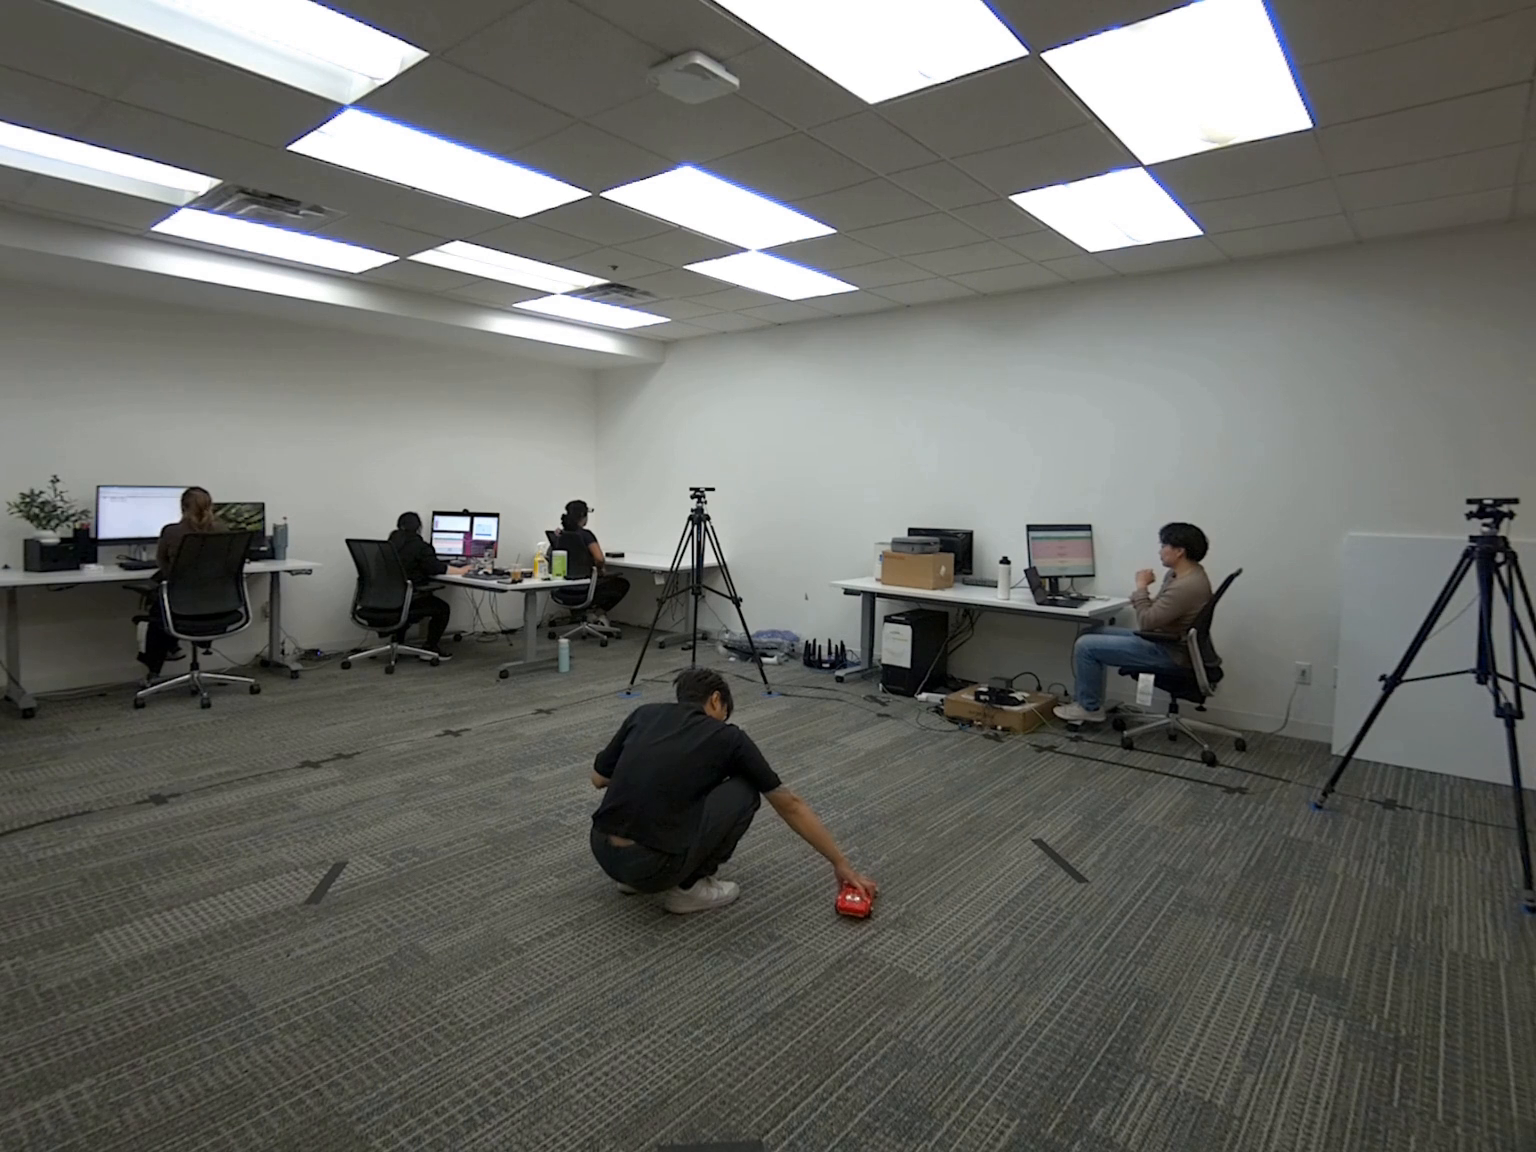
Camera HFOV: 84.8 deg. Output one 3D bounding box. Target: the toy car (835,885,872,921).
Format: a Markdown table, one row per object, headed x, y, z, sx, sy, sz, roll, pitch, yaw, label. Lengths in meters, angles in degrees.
| x | y | z | sx | sy | sz | roll | pitch | yaw | label |
| --- | --- | --- | --- | --- | --- | --- | --- | --- | --- |
| 0.285 | 1.077 | 2.841 | 0.133 | 0.083 | 0.249 | 4 | -5 | 15 | toy car |
